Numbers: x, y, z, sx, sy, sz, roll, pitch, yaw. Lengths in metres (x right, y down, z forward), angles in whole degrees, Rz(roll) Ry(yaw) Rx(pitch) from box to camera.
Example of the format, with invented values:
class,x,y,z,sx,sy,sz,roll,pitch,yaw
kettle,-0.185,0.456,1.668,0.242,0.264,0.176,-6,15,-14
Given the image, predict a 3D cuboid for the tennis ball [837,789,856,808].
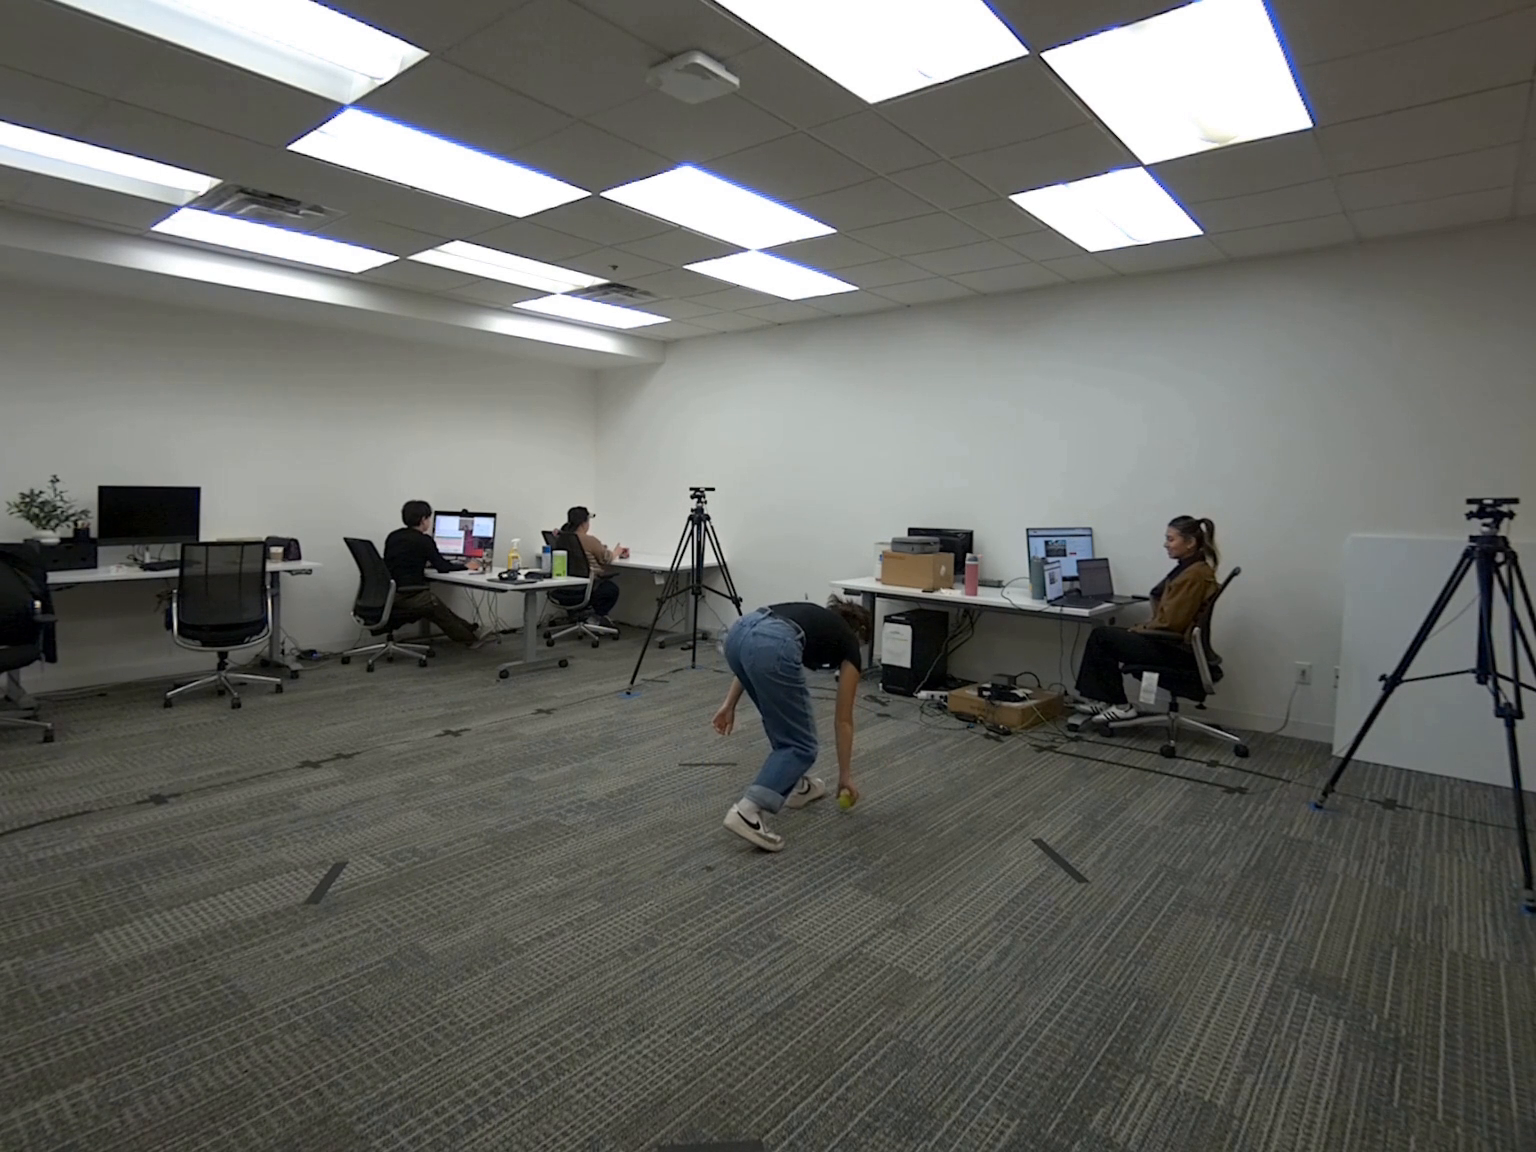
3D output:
class,x,y,z,sx,sy,sz,roll,pitch,yaw
tennis ball,0.356,0.940,3.708,0.066,0.066,0.067,1,4,-2
